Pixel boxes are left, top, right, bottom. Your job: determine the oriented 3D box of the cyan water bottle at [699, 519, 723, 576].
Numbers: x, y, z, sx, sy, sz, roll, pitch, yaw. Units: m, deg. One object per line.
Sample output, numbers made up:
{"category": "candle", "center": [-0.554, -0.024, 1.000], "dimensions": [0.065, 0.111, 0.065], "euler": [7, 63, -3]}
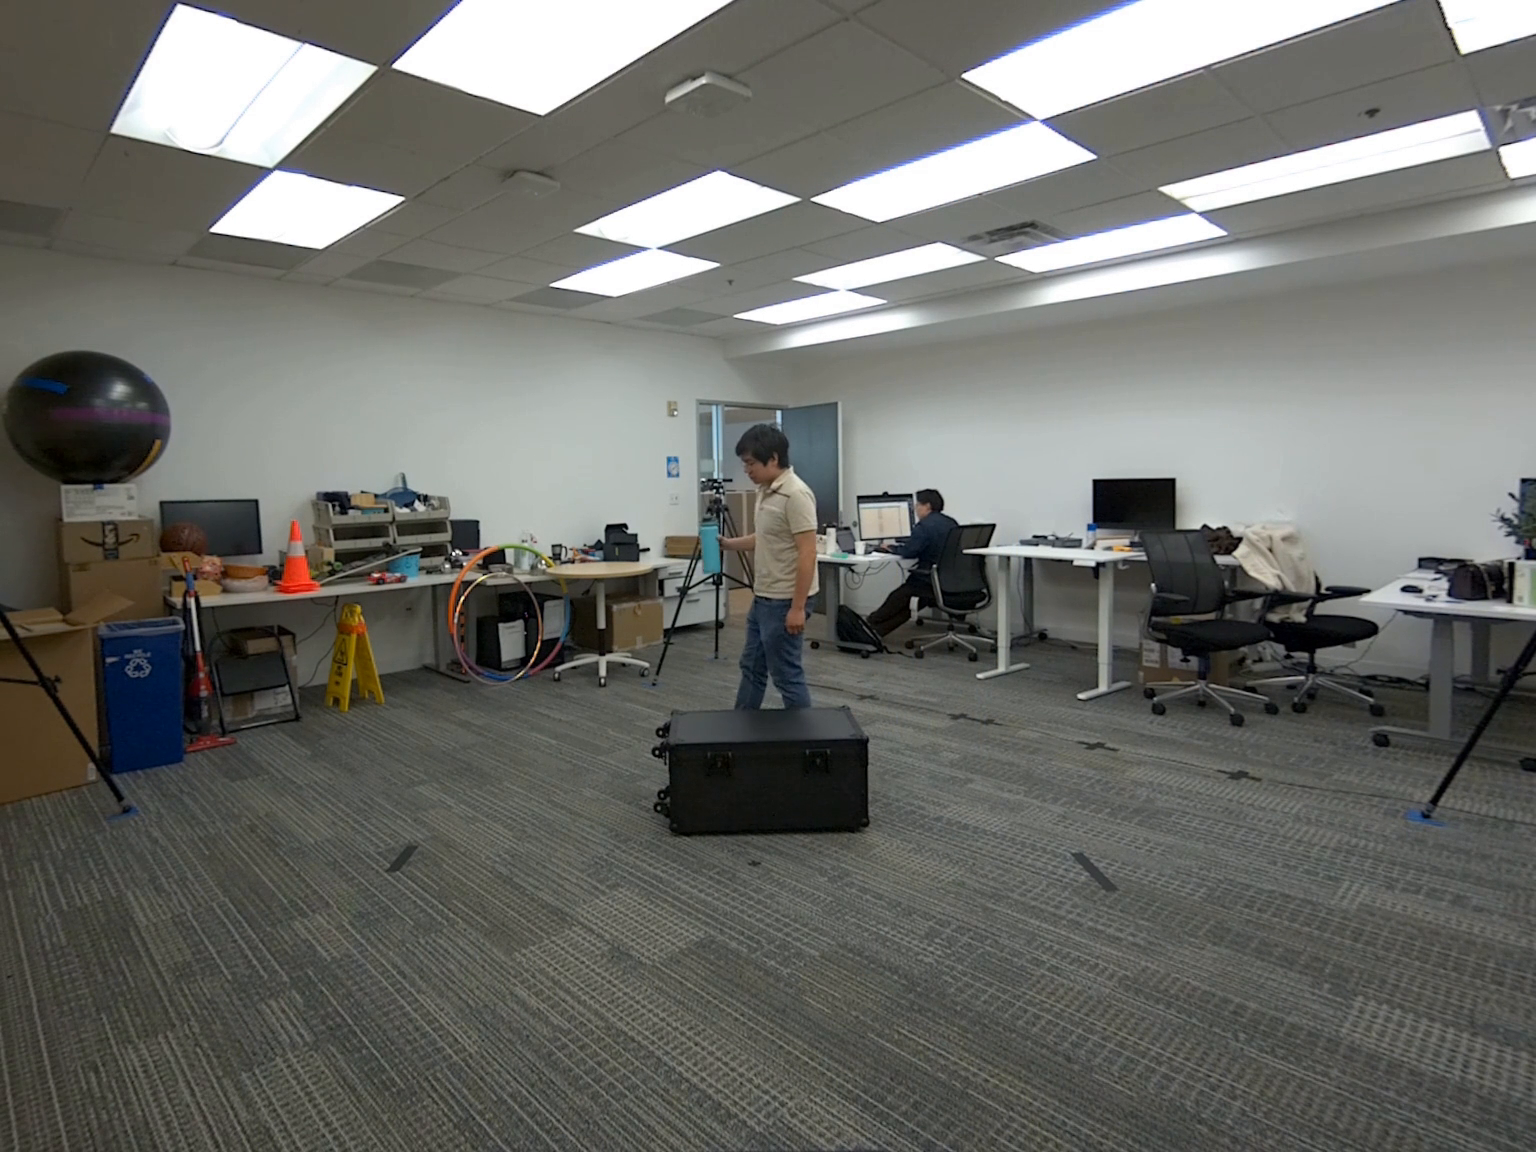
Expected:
{"category": "cyan water bottle", "center": [-0.282, -0.161, 4.178], "dimensions": [0.092, 0.282, 0.093], "euler": [-3, 5, -1]}
